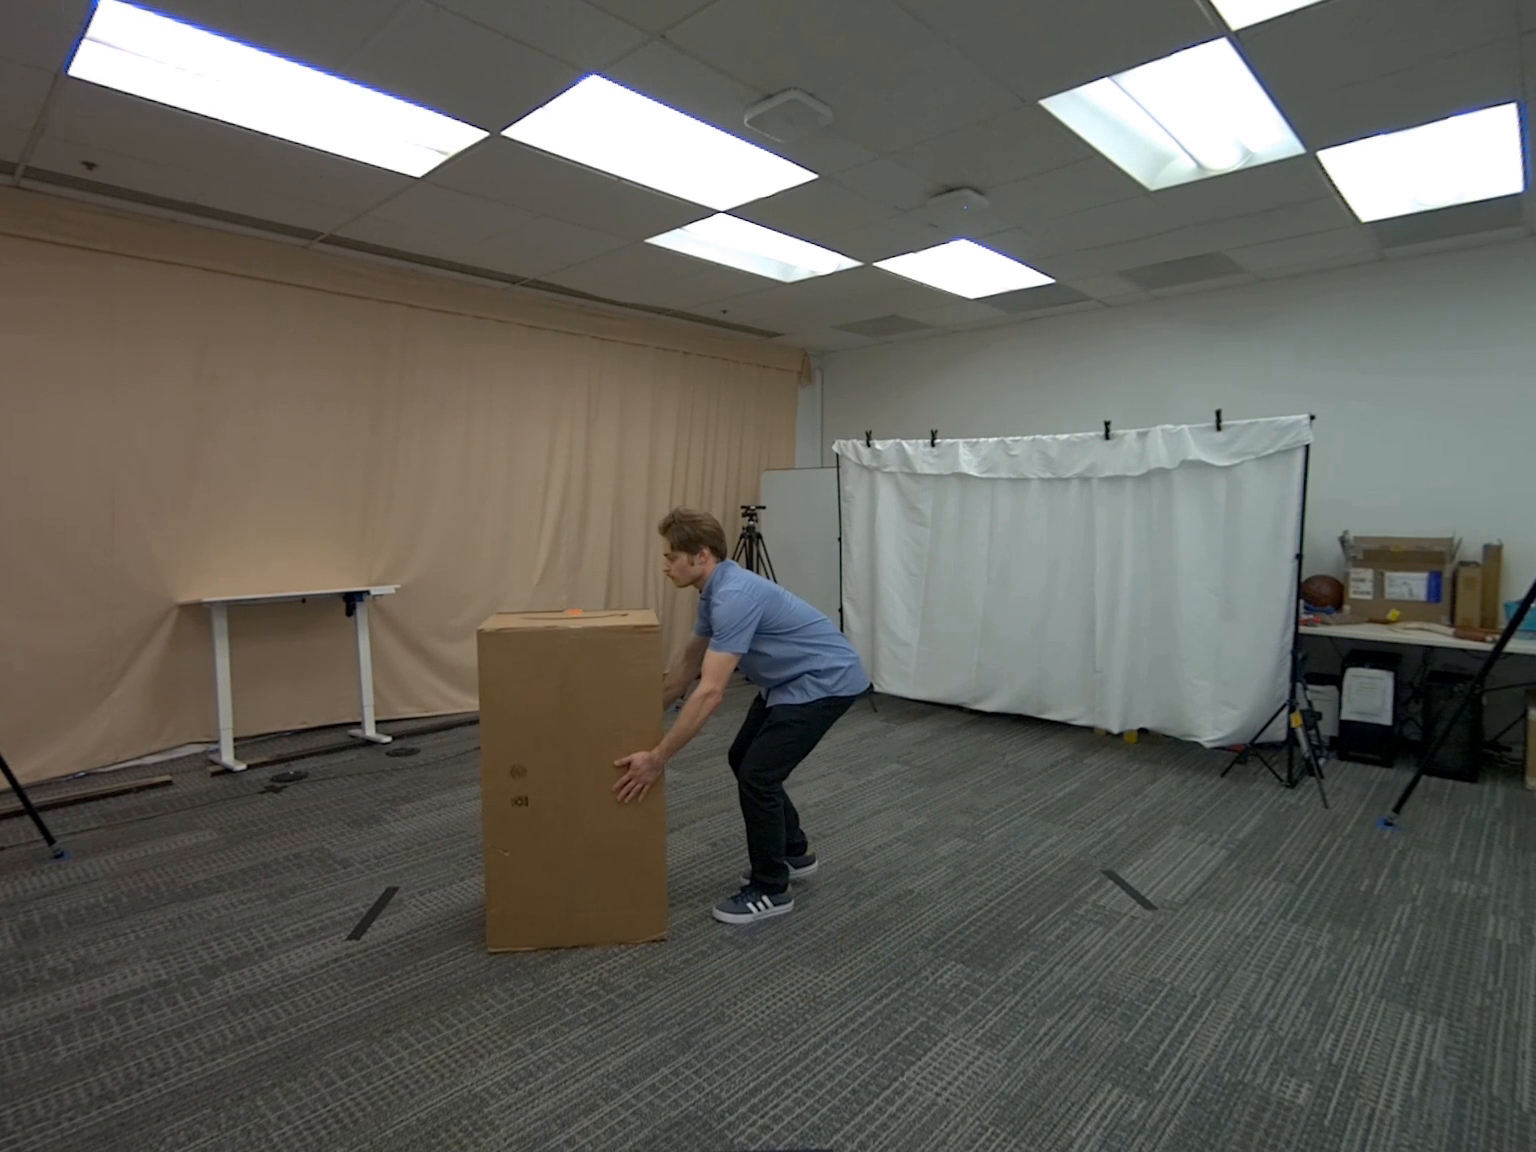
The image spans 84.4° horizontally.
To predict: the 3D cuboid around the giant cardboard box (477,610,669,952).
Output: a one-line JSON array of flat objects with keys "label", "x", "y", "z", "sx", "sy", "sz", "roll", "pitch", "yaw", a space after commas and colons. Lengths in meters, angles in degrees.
[{"label": "giant cardboard box", "x": -0.645, "y": 0.655, "z": 2.850, "sx": 0.573, "sy": 1.024, "sz": 0.430, "roll": -1, "pitch": 3, "yaw": -8}]
